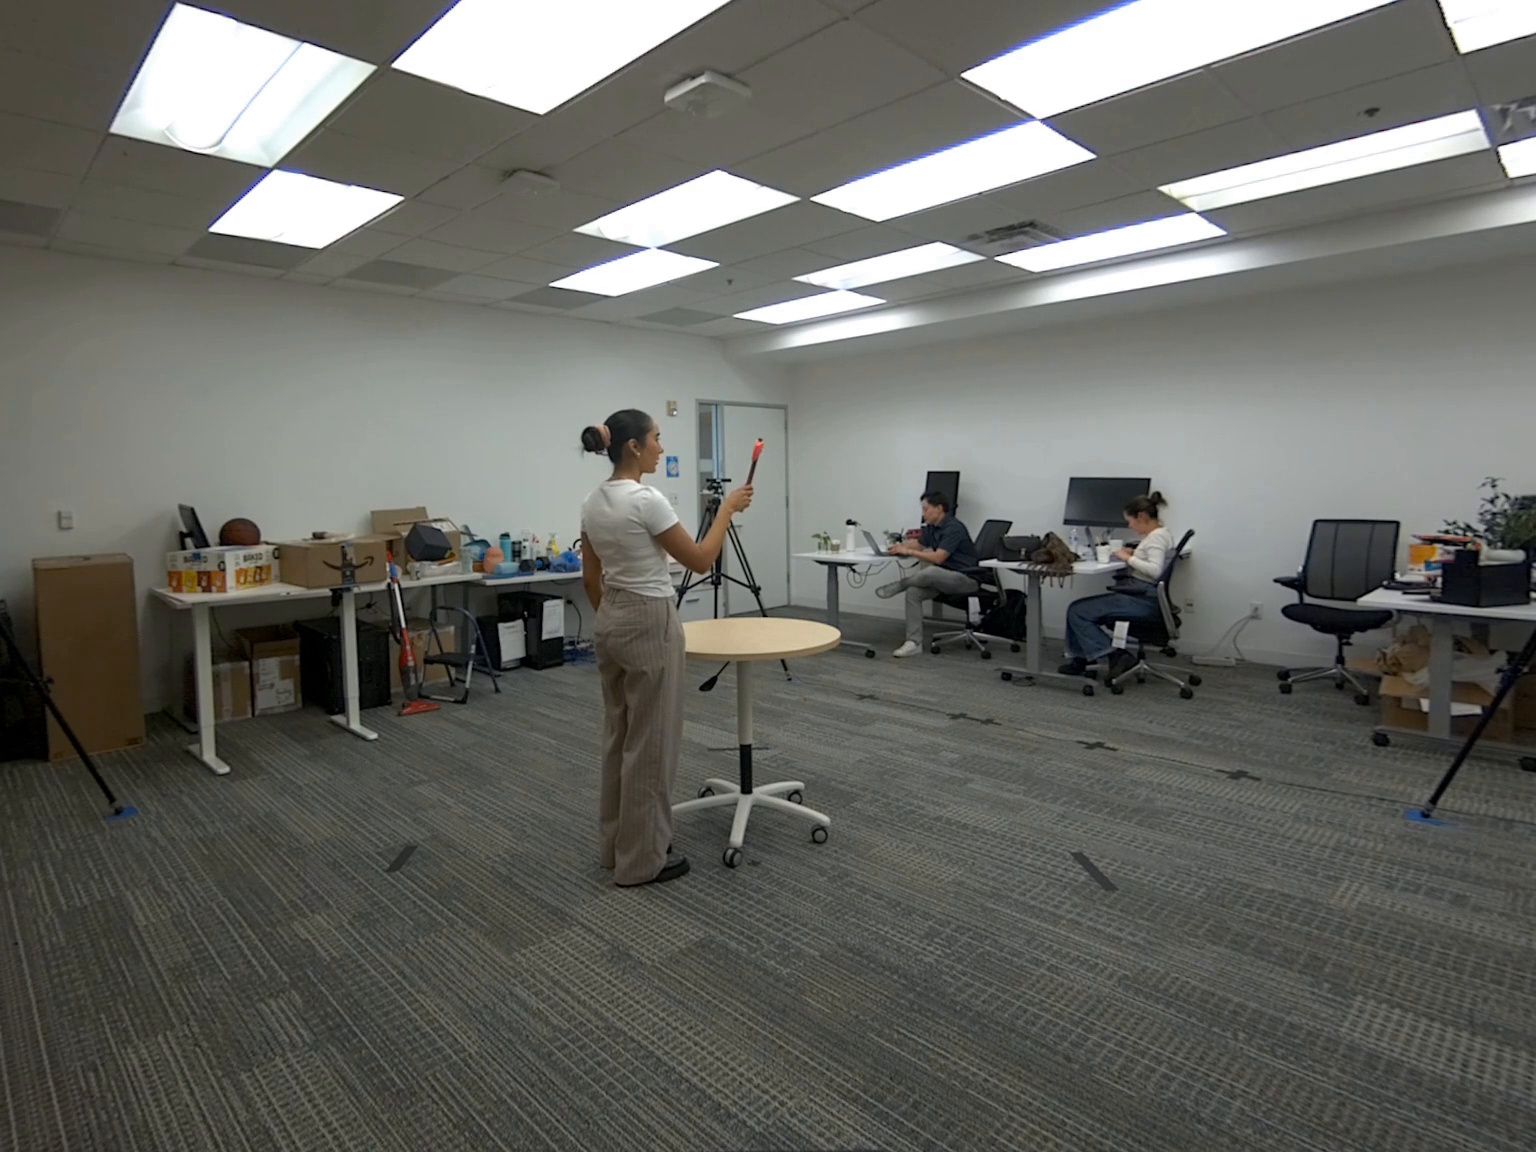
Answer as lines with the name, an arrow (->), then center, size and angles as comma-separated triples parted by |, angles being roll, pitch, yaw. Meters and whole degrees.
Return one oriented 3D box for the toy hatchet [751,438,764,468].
toy hatchet -> -0.067, -0.369, 3.068 | 0.030, 0.271, 0.129 | 16, -6, 4
